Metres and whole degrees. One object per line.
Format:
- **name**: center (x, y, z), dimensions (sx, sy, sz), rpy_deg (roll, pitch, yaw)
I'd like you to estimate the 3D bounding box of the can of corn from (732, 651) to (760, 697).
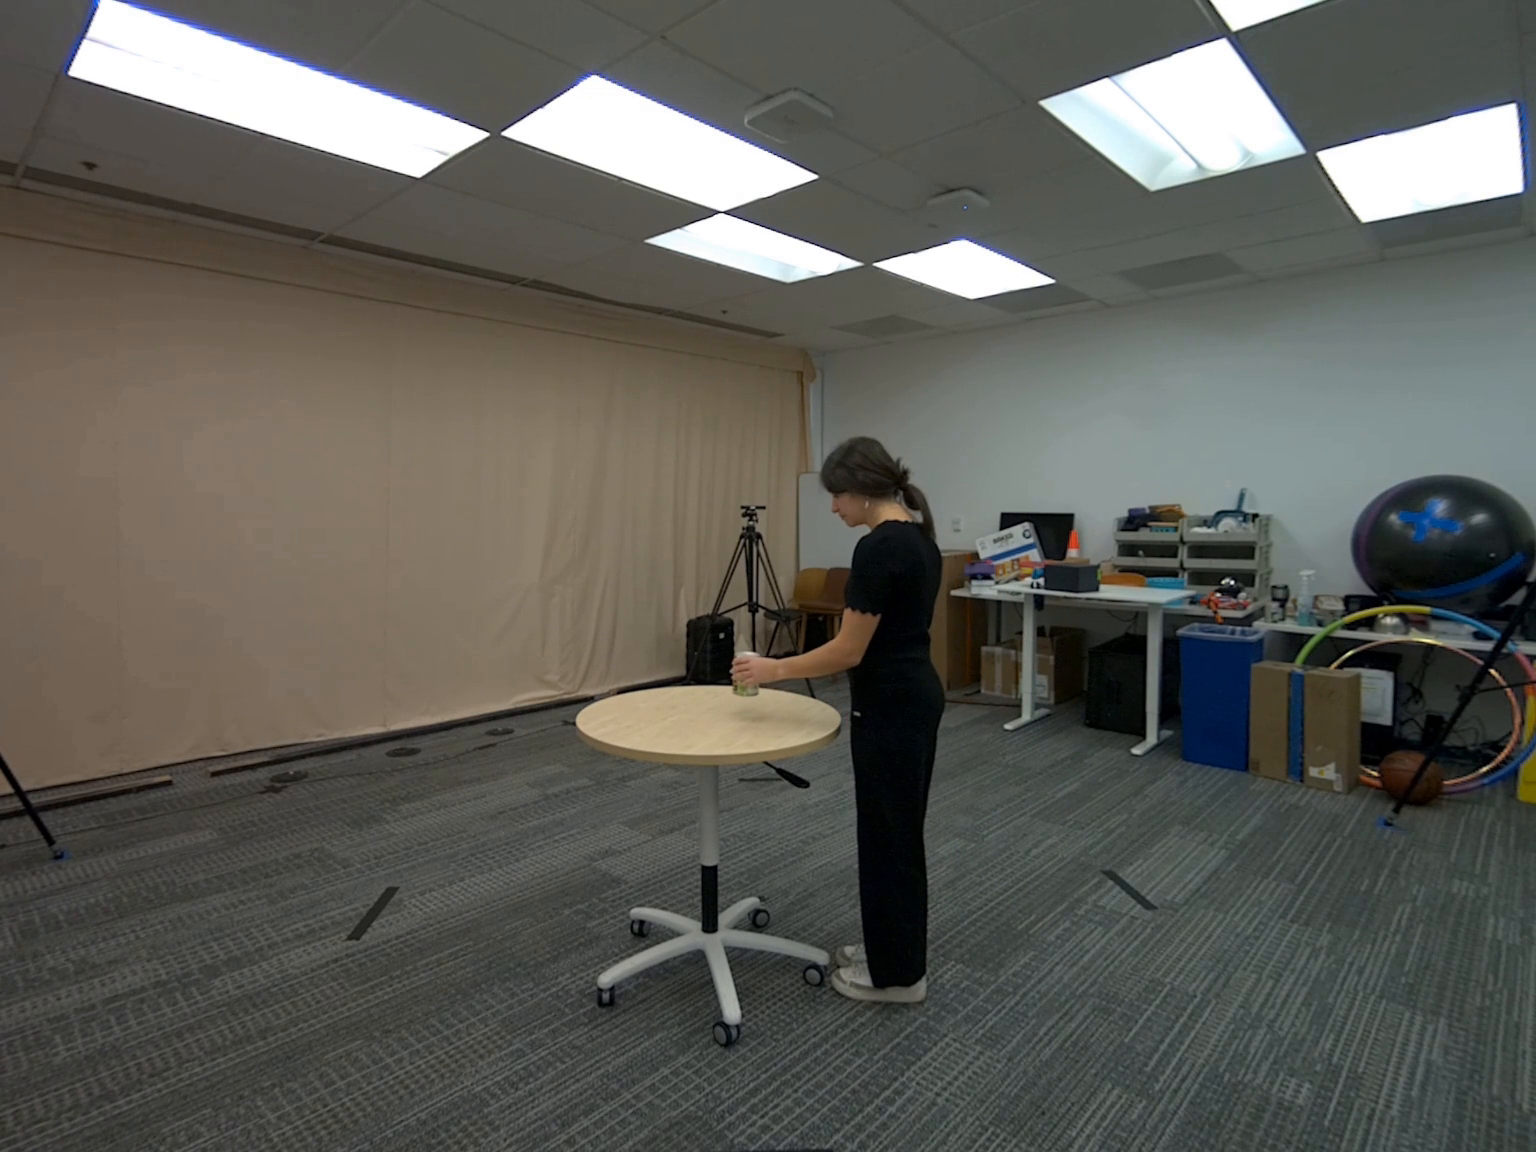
- **can of corn**: center (-0.050, 0.288, 2.401), dimensions (0.074, 0.111, 0.074), rpy_deg (2, 2, -2)
